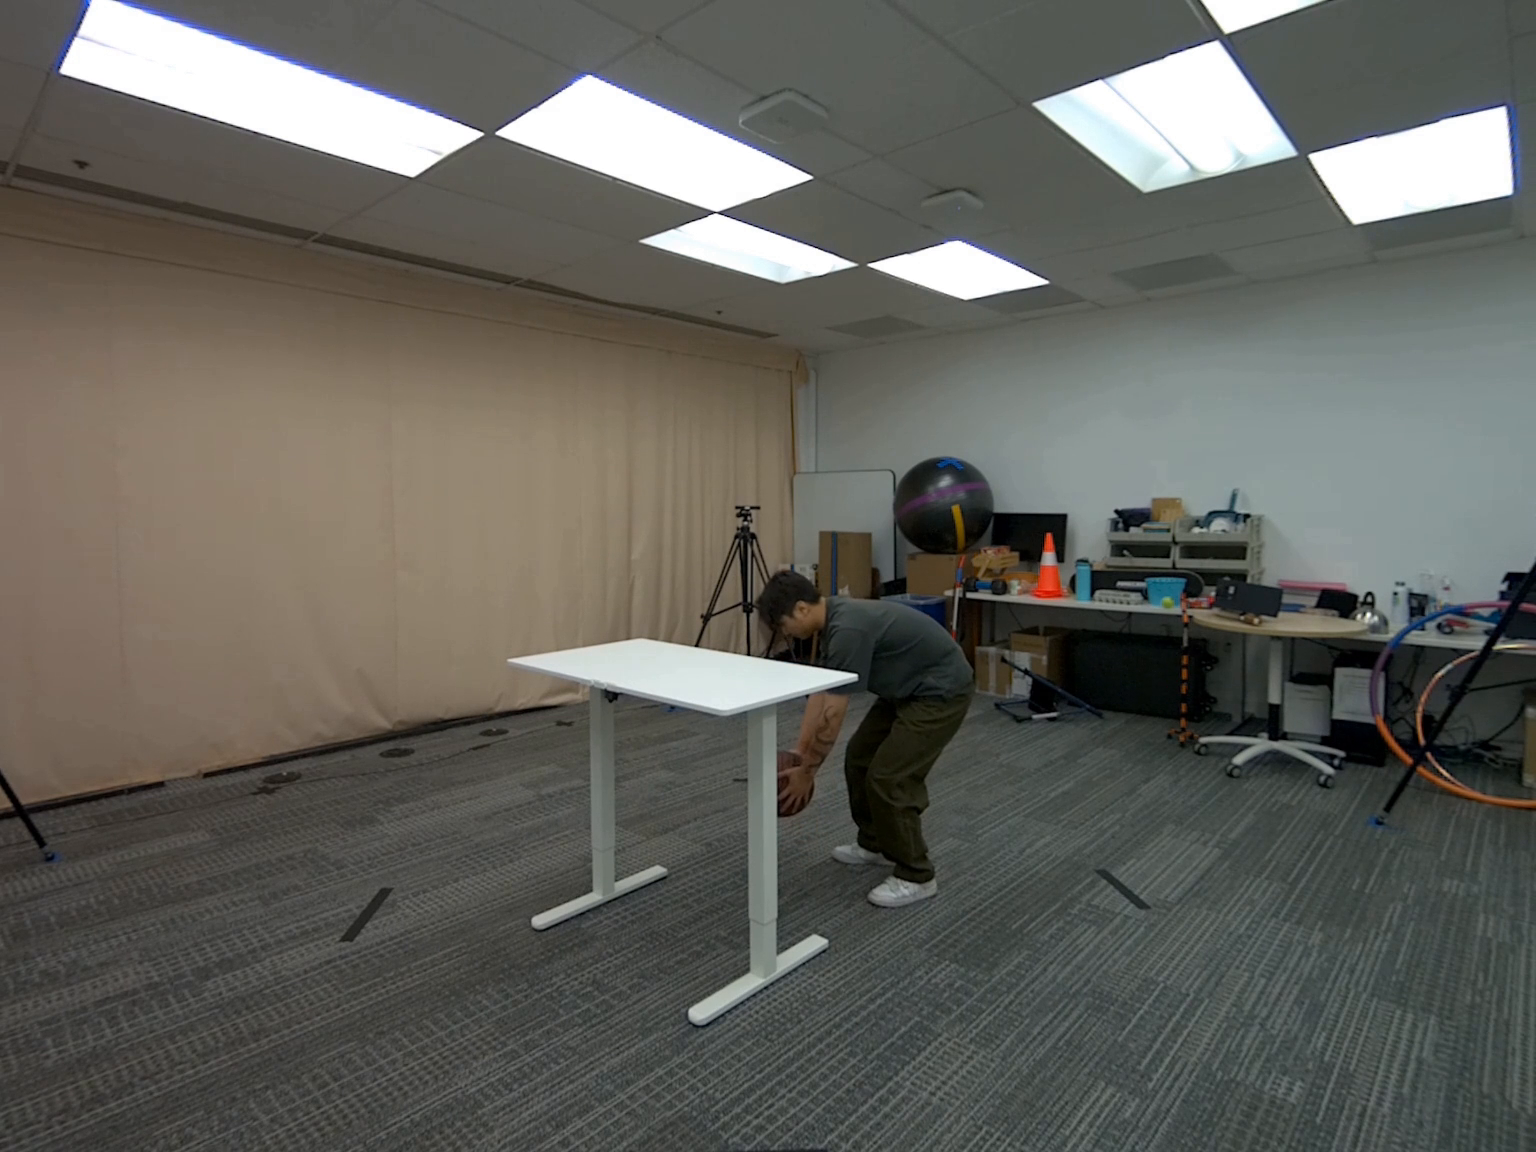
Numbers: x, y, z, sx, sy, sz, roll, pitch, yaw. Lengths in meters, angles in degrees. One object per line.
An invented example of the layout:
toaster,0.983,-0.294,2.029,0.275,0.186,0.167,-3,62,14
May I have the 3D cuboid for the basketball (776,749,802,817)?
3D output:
basketball,0.061,0.773,3.128,0.236,0.235,0.237,0,4,-2
